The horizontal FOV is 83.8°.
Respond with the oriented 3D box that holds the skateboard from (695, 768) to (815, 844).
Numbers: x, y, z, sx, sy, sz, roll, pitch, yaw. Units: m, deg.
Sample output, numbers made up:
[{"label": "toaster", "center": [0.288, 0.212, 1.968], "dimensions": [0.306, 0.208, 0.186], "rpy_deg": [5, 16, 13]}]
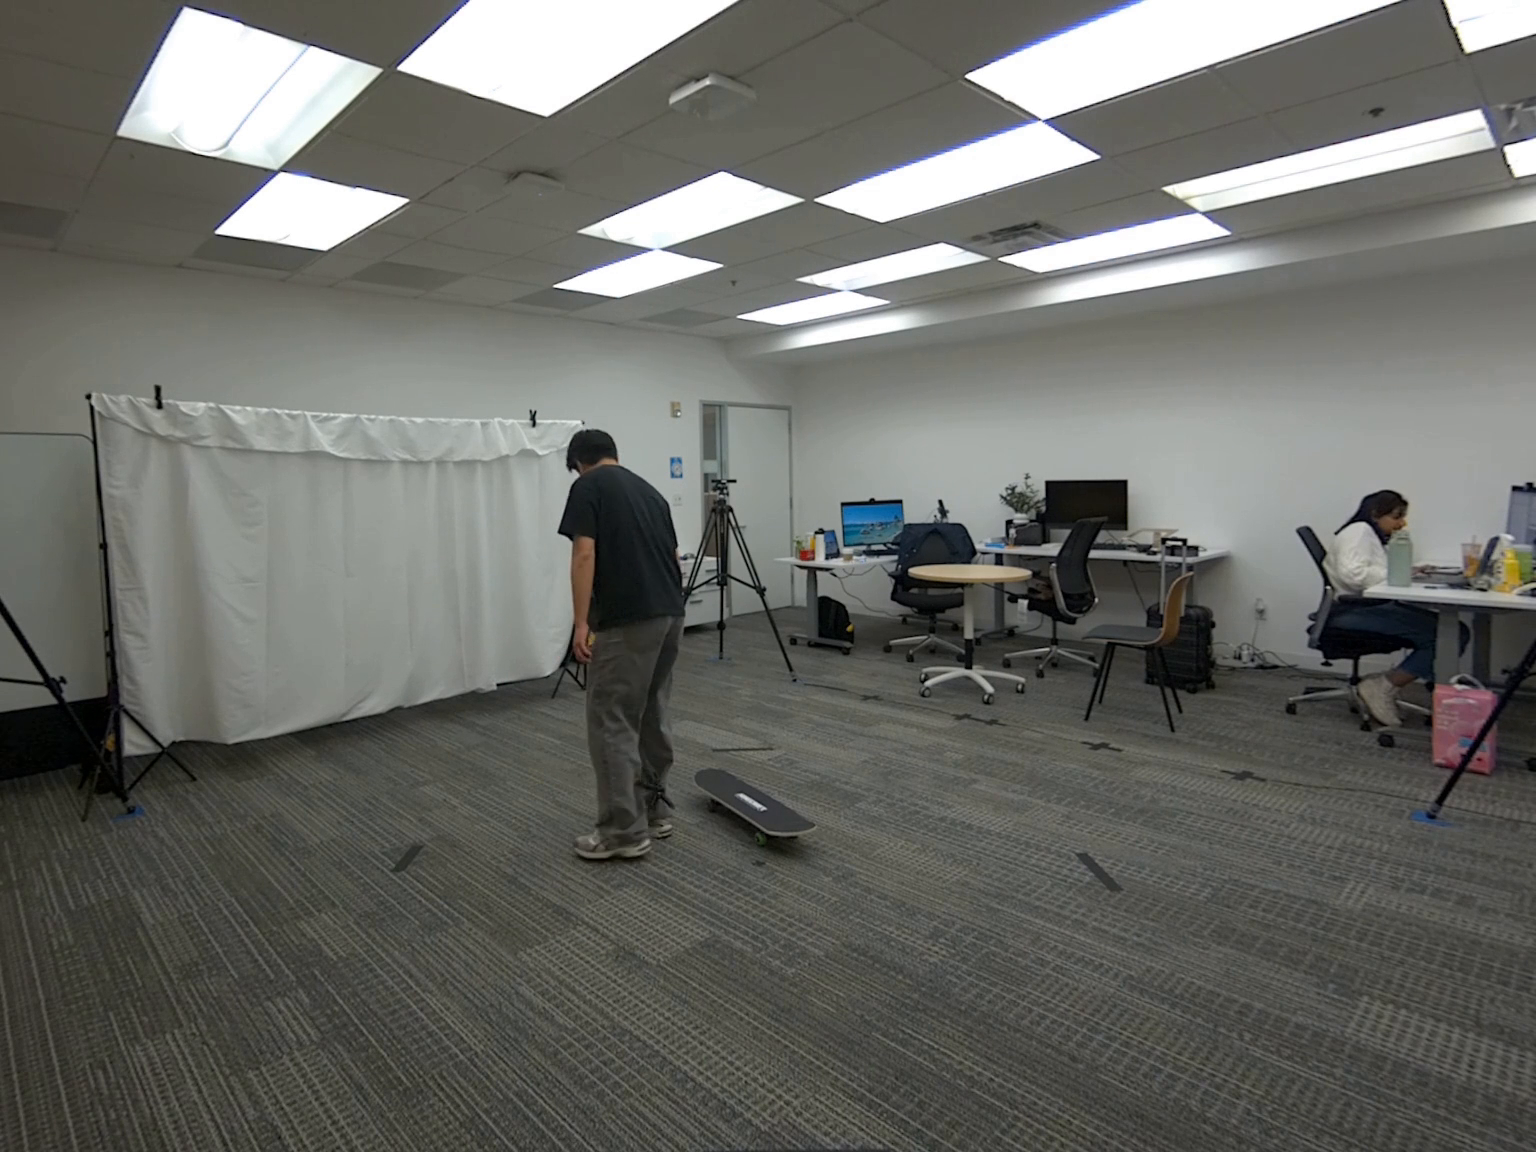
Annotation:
[{"label": "skateboard", "center": [-0.071, 0.951, 3.474], "dimensions": [0.189, 0.110, 0.808], "rpy_deg": [-4, 8, -31]}]
